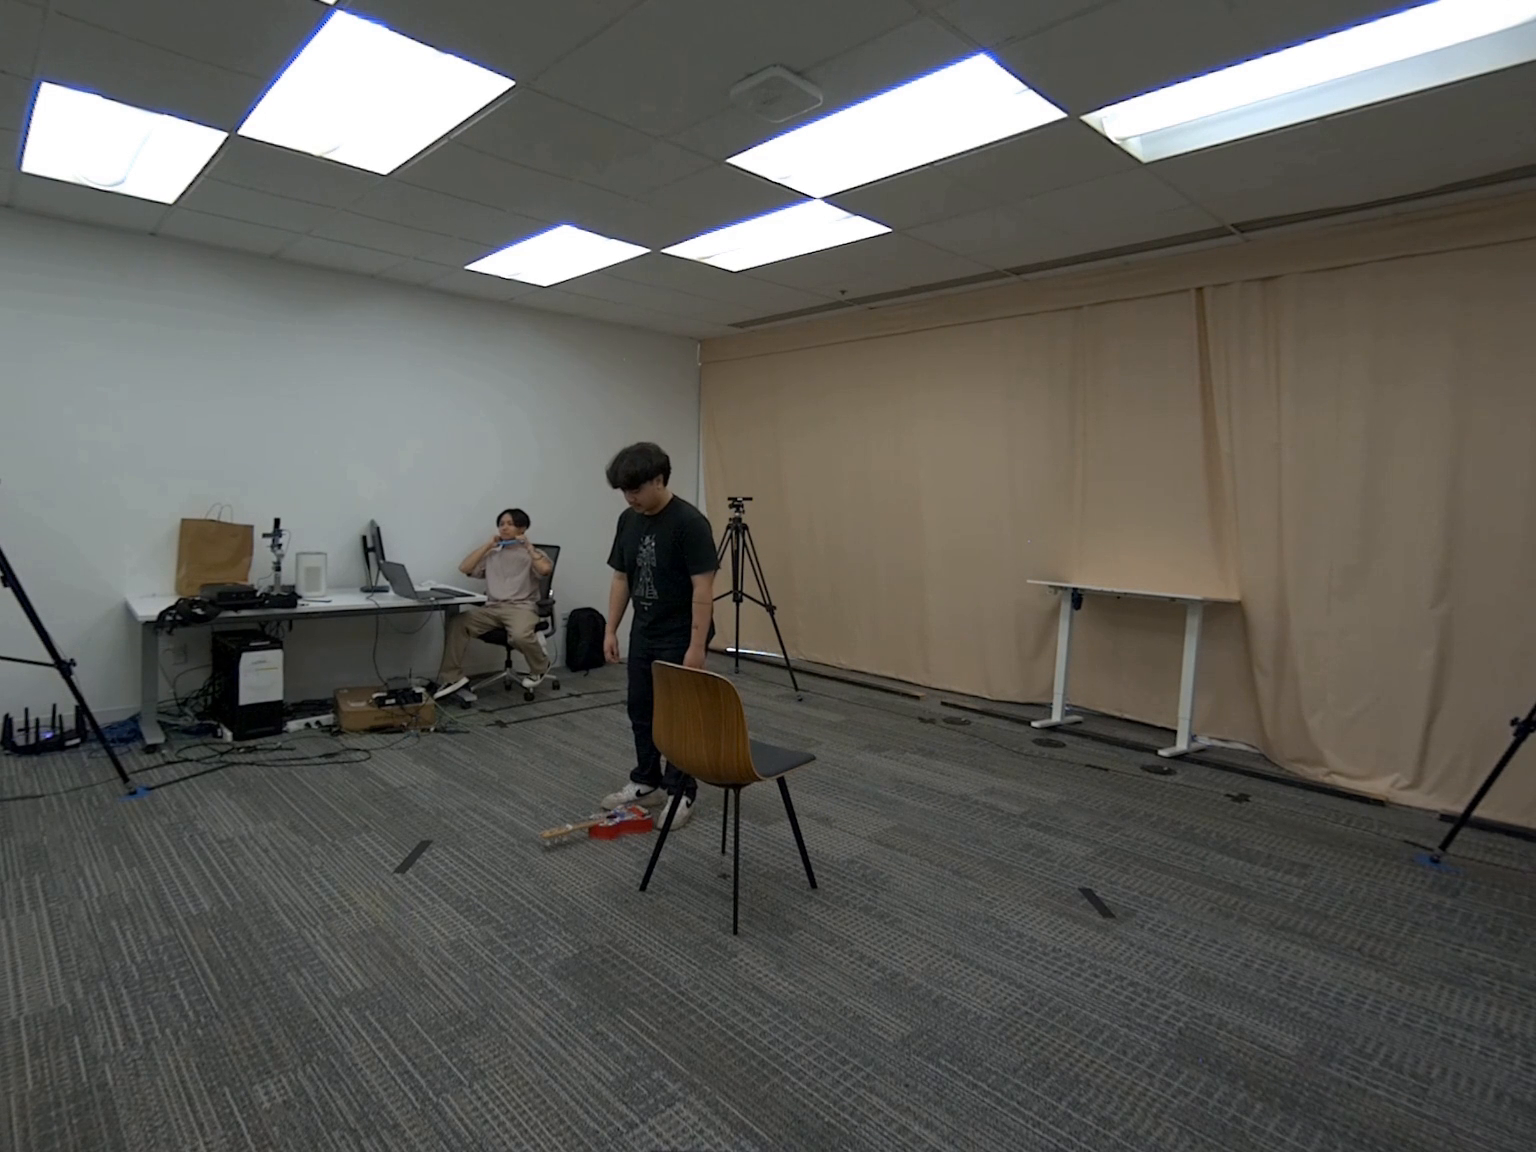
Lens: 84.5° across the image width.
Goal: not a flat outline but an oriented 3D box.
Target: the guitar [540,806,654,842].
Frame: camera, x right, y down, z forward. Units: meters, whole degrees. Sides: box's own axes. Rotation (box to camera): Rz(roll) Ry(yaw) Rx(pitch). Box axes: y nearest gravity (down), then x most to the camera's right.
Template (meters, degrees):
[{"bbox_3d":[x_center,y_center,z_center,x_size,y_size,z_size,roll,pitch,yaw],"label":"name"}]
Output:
[{"bbox_3d":[-0.731,1.029,3.474,0.487,0.070,0.198,-2,7,-32],"label":"guitar"}]
